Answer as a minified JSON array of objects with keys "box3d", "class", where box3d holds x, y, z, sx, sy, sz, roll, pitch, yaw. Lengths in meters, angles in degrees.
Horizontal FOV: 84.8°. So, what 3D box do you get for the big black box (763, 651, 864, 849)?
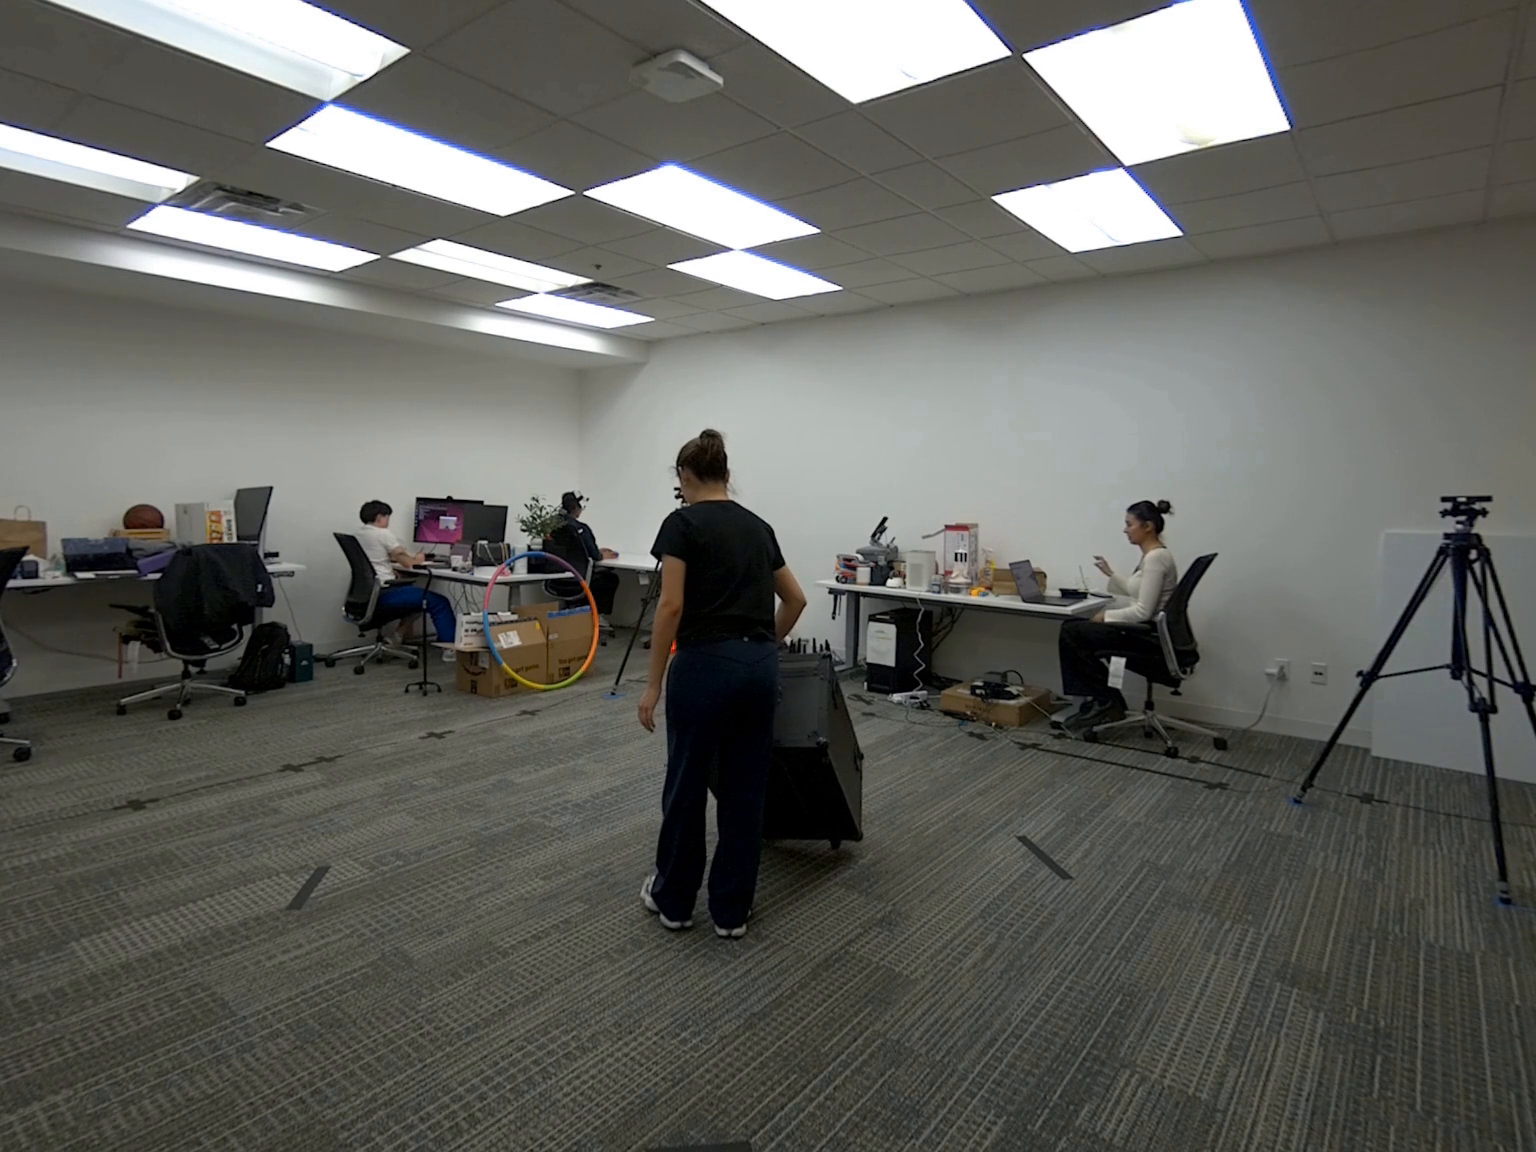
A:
[{"box3d":[0.083,0.675,3.172,0.529,0.406,0.828,-5,-40,15],"class":"big black box"}]
